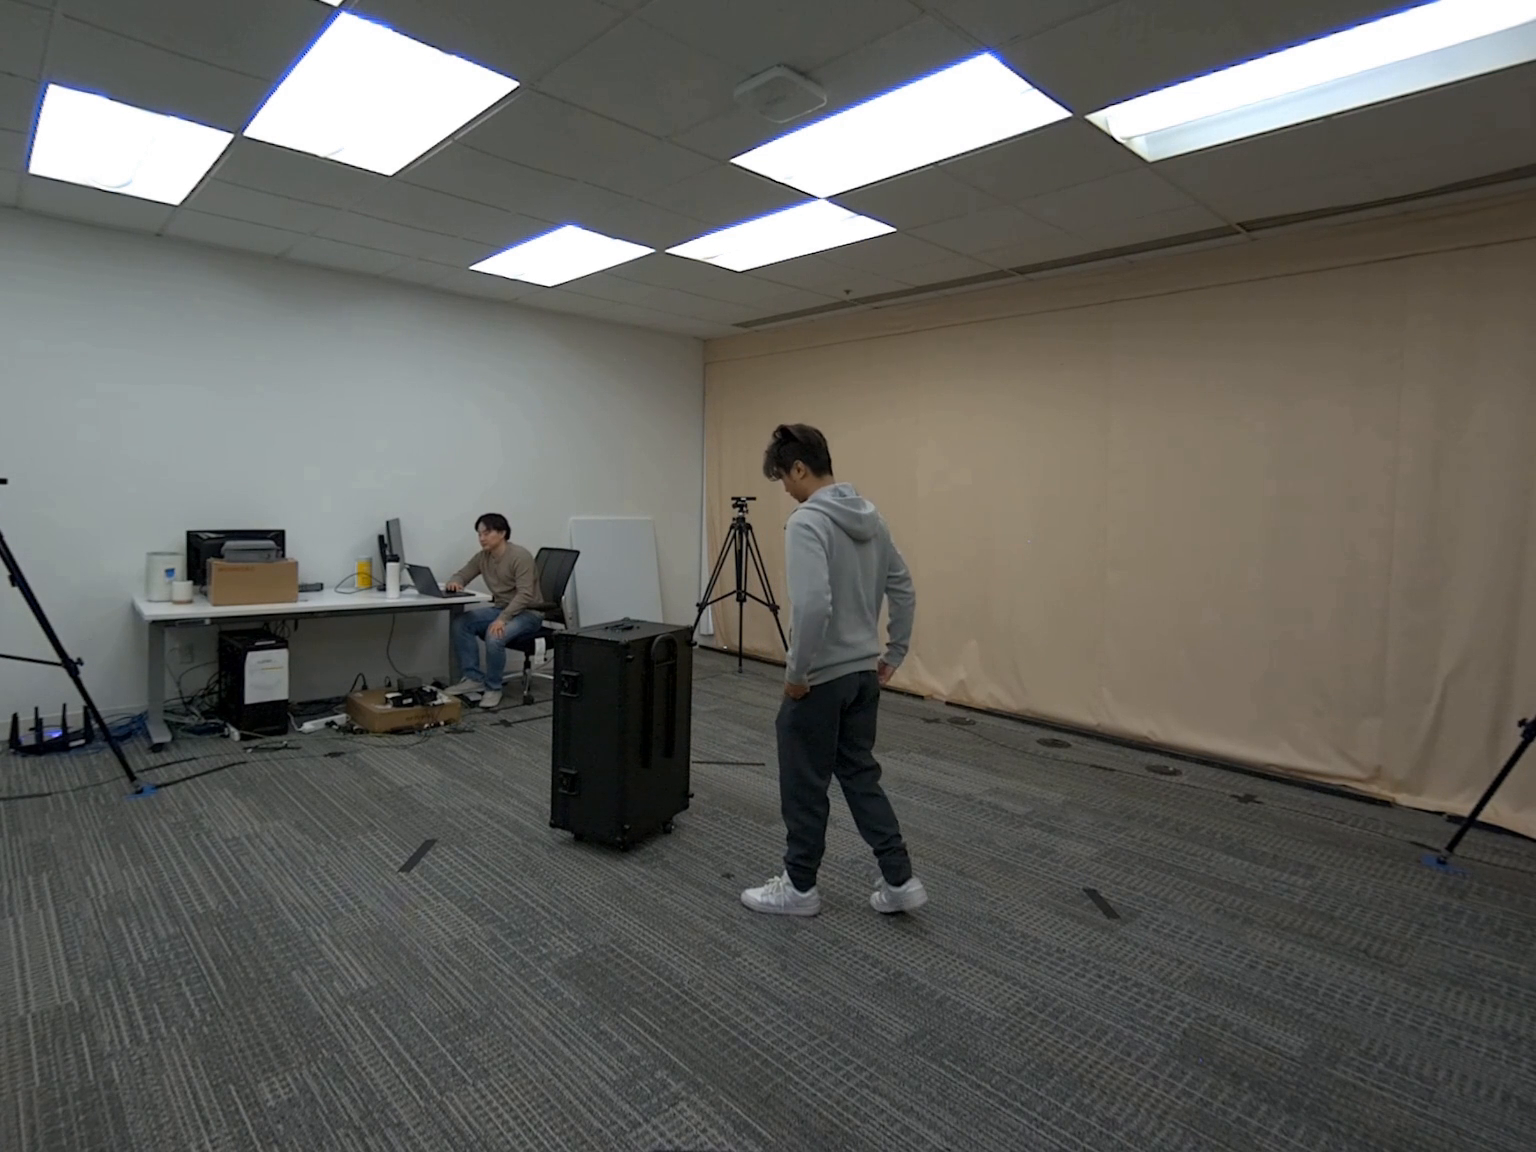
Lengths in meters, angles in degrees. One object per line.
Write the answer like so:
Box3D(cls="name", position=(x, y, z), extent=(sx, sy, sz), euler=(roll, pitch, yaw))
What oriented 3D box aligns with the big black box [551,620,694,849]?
Box3D(cls="big black box", position=(-0.586, 0.641, 3.450), extent=(0.405, 0.859, 0.511), euler=(5, 5, 28))
